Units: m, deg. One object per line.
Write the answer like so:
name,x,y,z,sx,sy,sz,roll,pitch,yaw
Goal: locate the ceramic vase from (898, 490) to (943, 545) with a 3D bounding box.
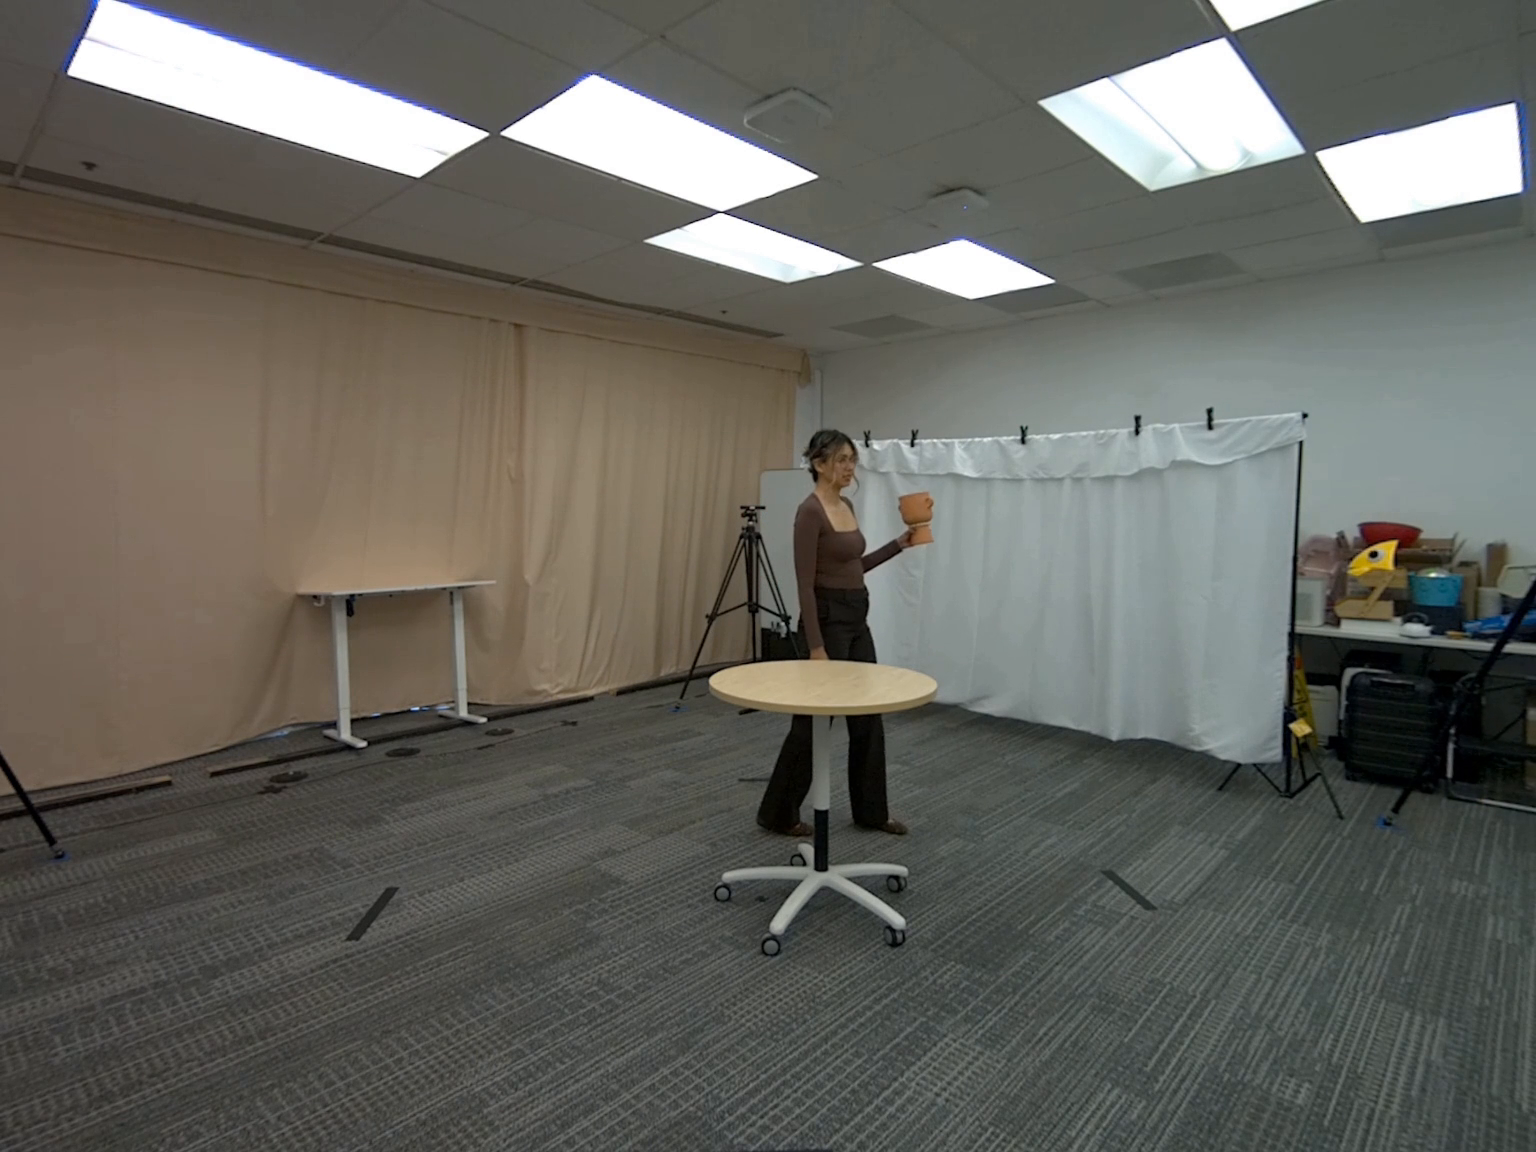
ceramic vase,0.656,-0.249,3.671,0.135,0.220,0.158,-9,0,4
